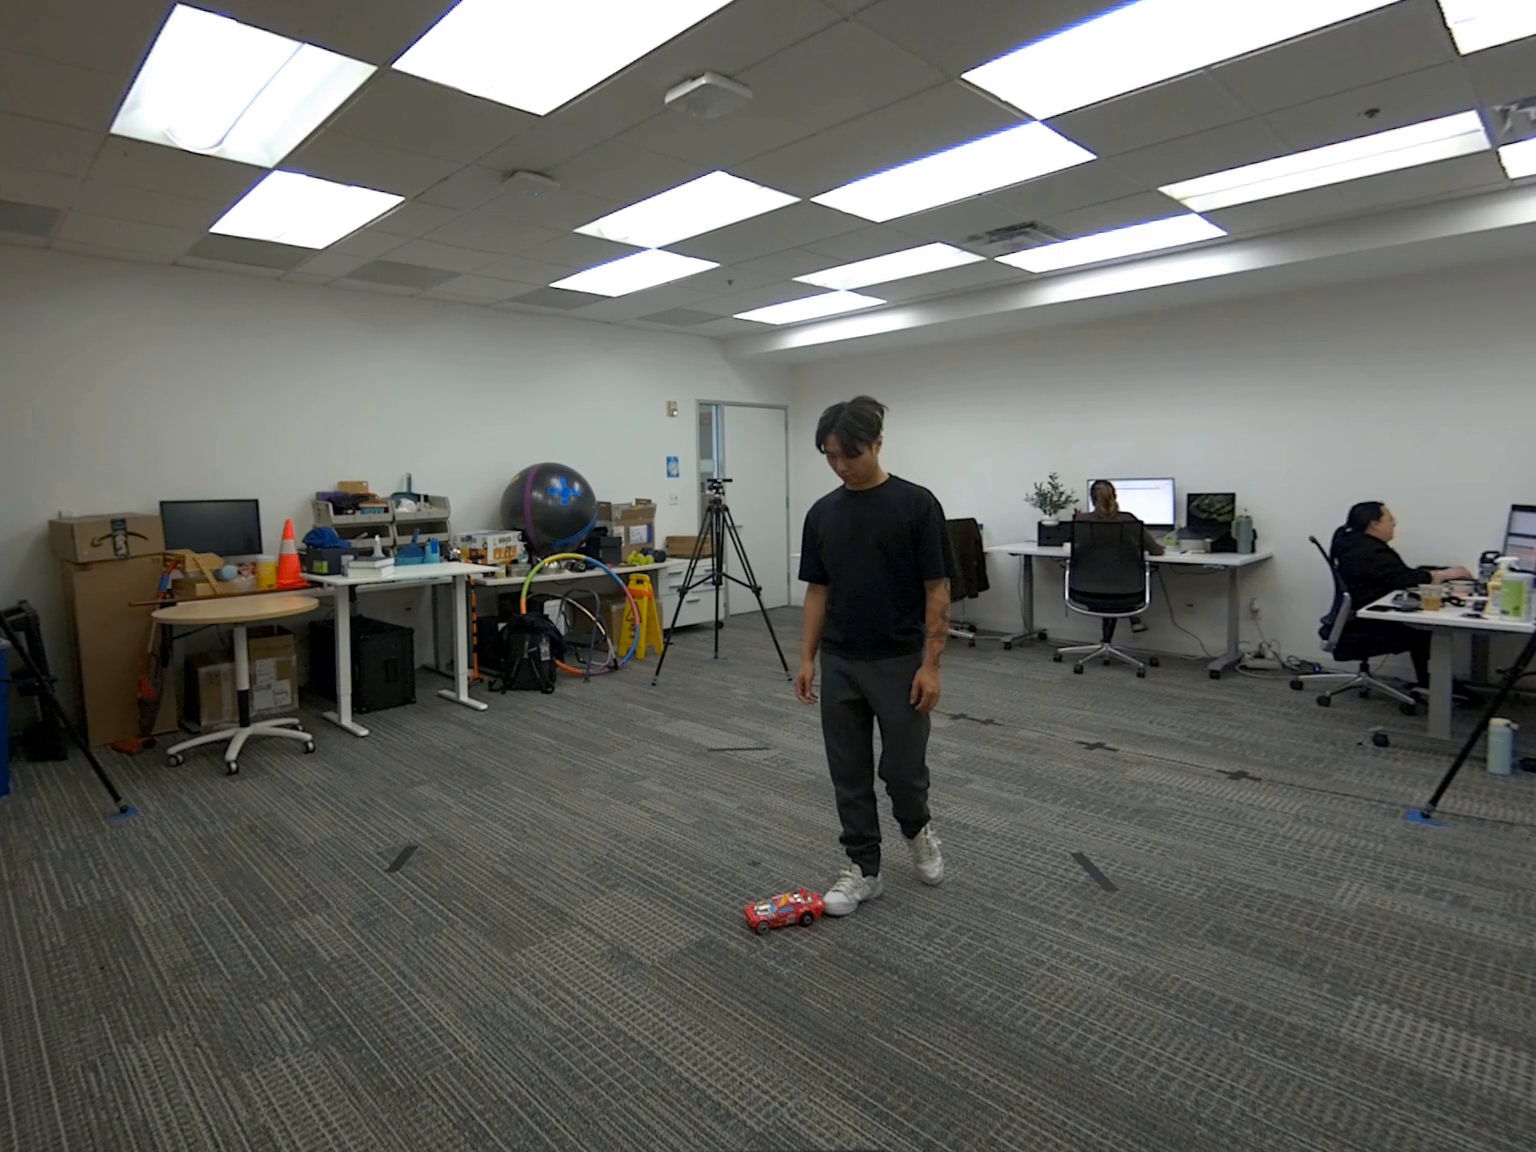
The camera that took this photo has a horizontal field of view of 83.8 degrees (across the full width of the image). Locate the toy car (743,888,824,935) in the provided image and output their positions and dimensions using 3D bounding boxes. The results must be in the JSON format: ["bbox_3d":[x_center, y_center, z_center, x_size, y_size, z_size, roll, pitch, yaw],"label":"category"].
[{"bbox_3d":[0.064,1.061,2.694,0.252,0.082,0.133,-15,10,-15],"label":"toy car"}]
